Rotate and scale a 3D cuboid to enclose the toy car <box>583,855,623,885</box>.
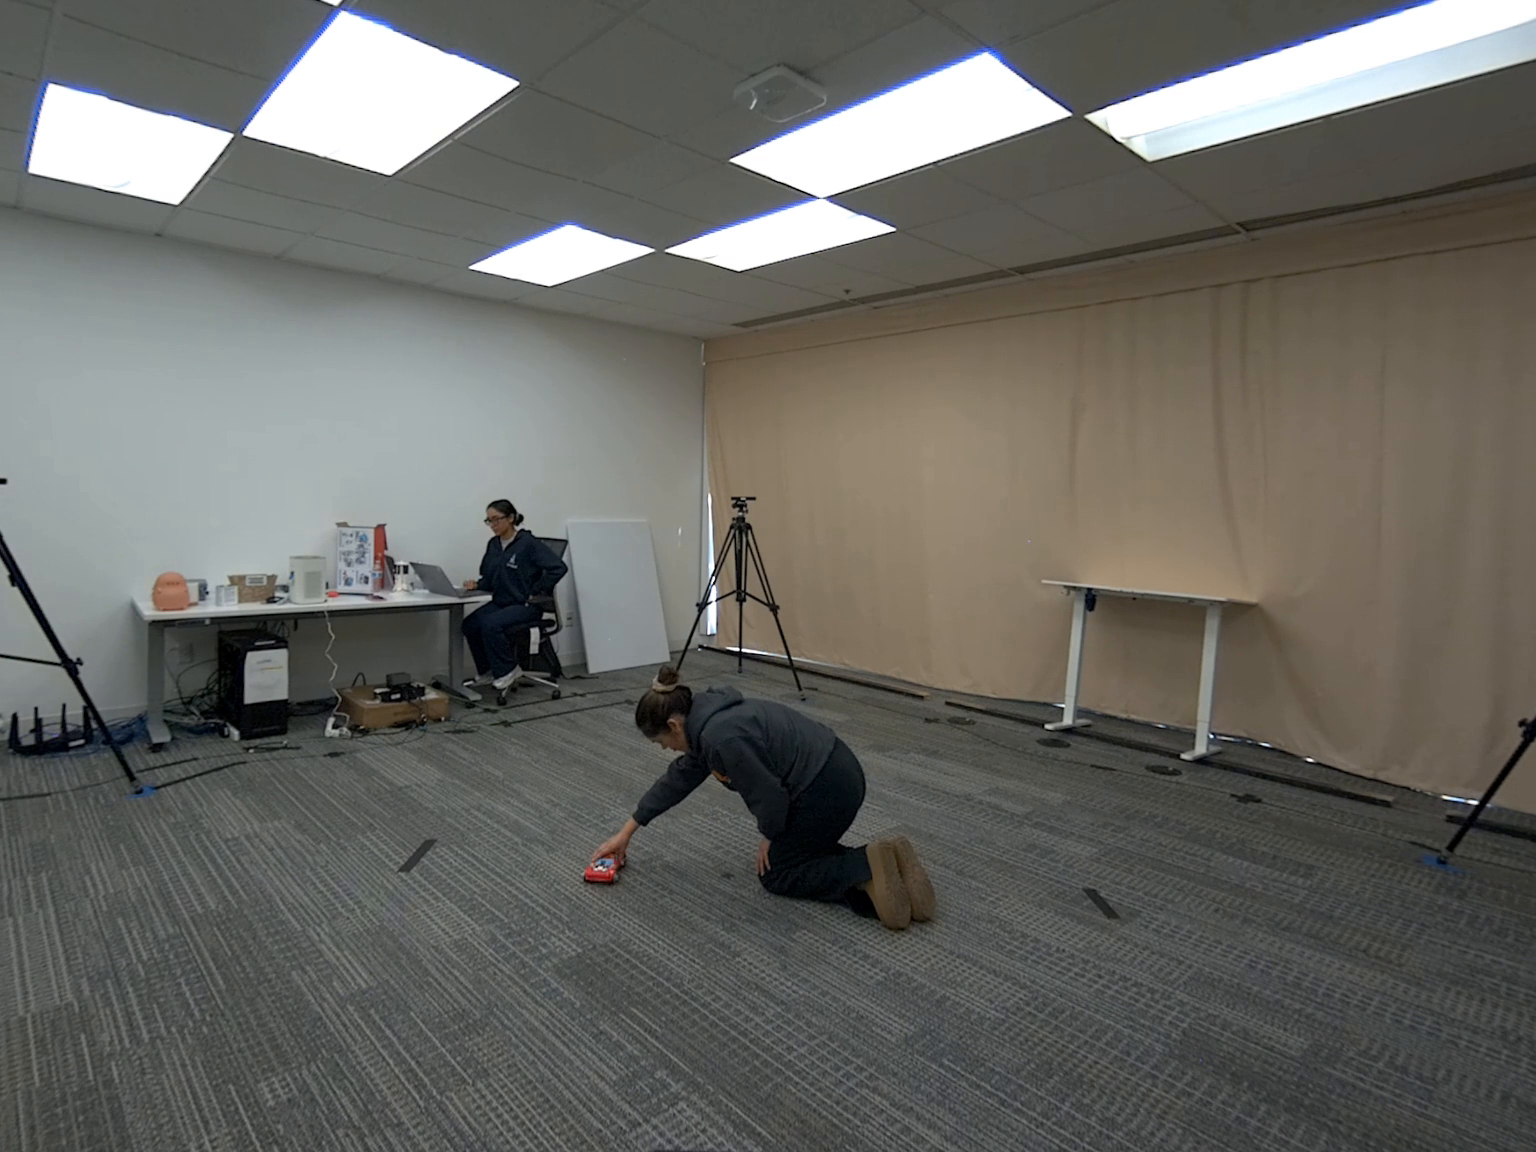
[{"bbox_3d":[-0.595,1.057,3.138,0.131,0.082,0.256,1,15,5],"label":"toy car"}]
